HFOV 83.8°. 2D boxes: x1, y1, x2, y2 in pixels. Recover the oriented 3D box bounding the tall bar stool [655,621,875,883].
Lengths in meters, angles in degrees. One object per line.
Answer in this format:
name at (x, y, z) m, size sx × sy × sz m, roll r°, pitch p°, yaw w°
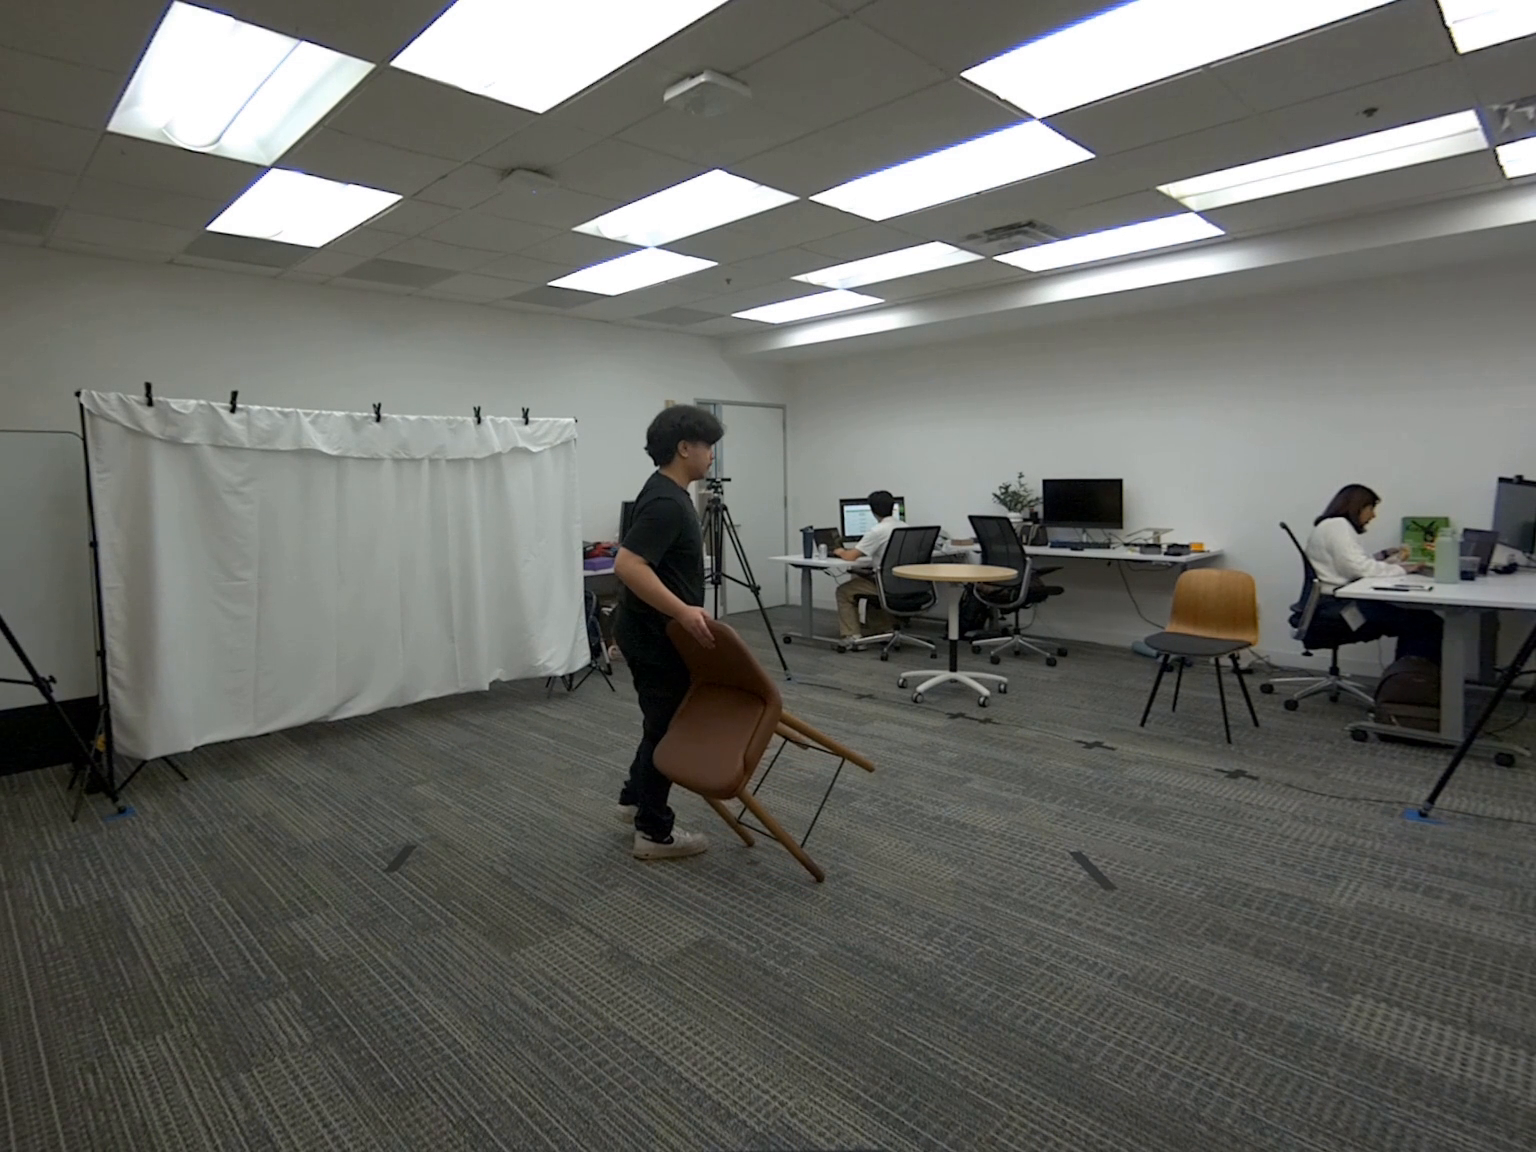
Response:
tall bar stool at (-0.074, 0.595, 2.967) m, size 0.471 × 0.469 × 0.859 m, roll 6°, pitch -35°, yaw 51°
